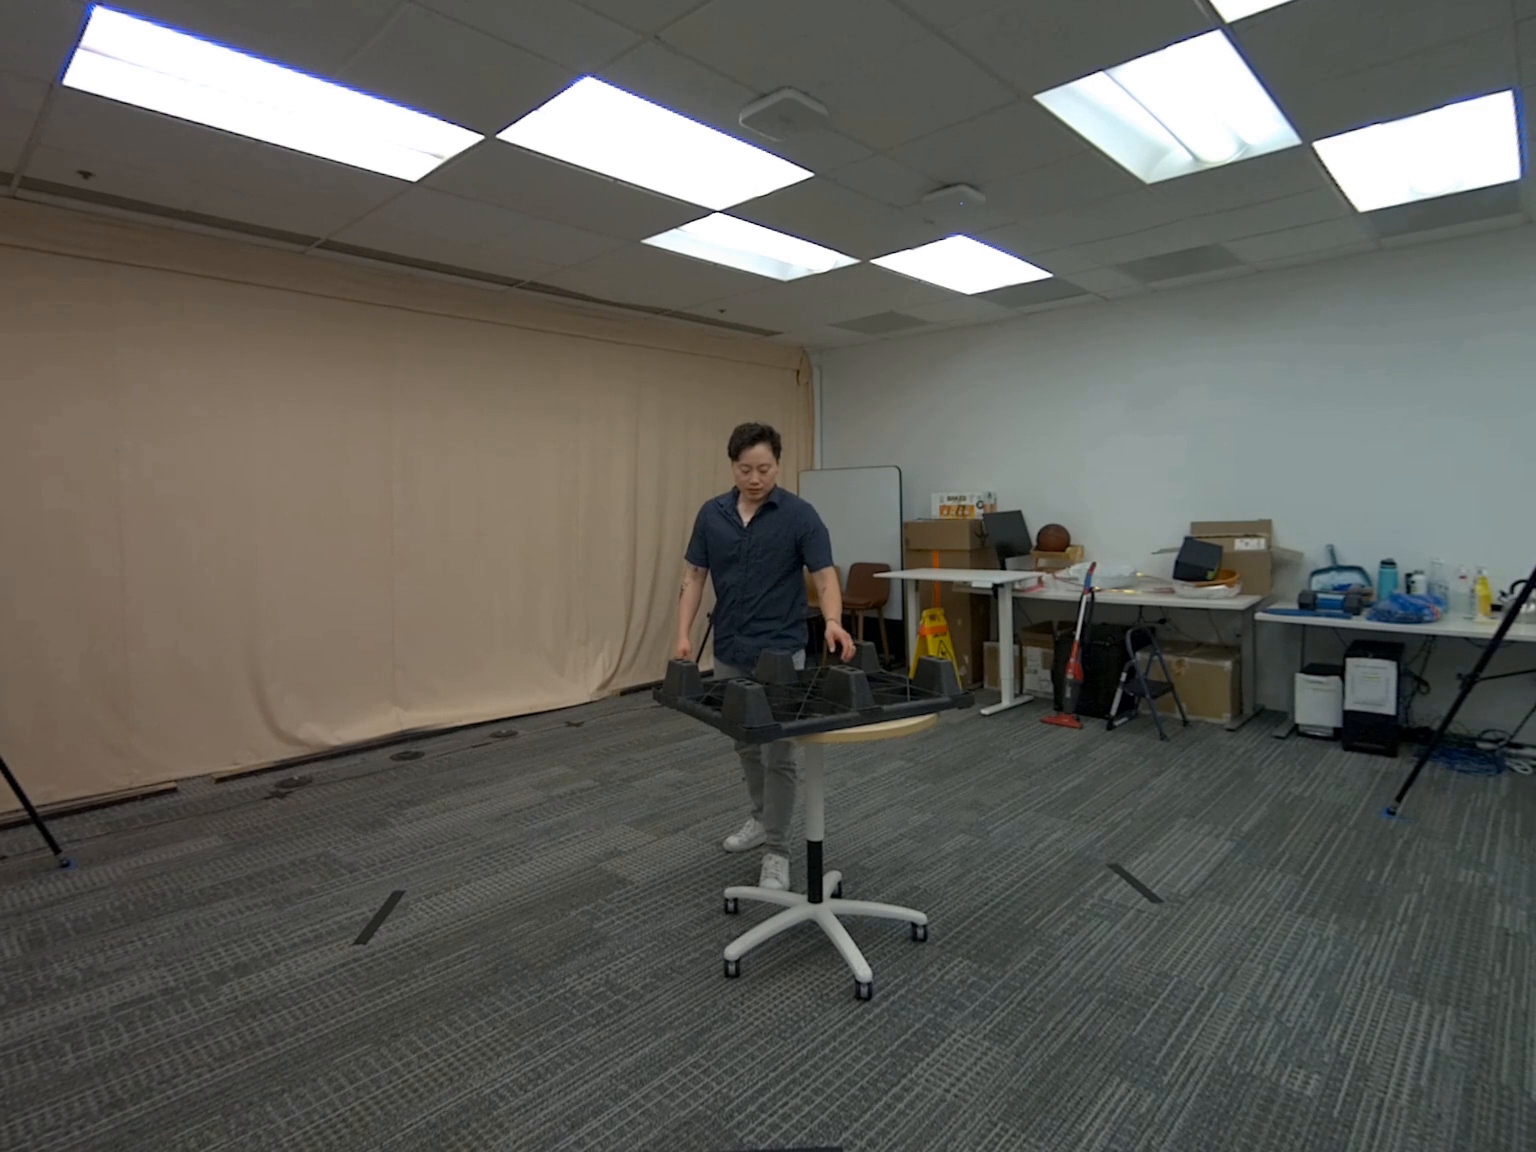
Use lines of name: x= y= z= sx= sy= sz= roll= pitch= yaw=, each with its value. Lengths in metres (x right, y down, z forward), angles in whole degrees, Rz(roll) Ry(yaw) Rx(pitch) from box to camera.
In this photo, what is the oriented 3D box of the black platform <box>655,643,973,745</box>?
black platform: x=0.137 y=0.326 z=2.570 sx=0.784 sy=0.143 sz=0.623 roll=-4 pitch=5 yaw=-31
